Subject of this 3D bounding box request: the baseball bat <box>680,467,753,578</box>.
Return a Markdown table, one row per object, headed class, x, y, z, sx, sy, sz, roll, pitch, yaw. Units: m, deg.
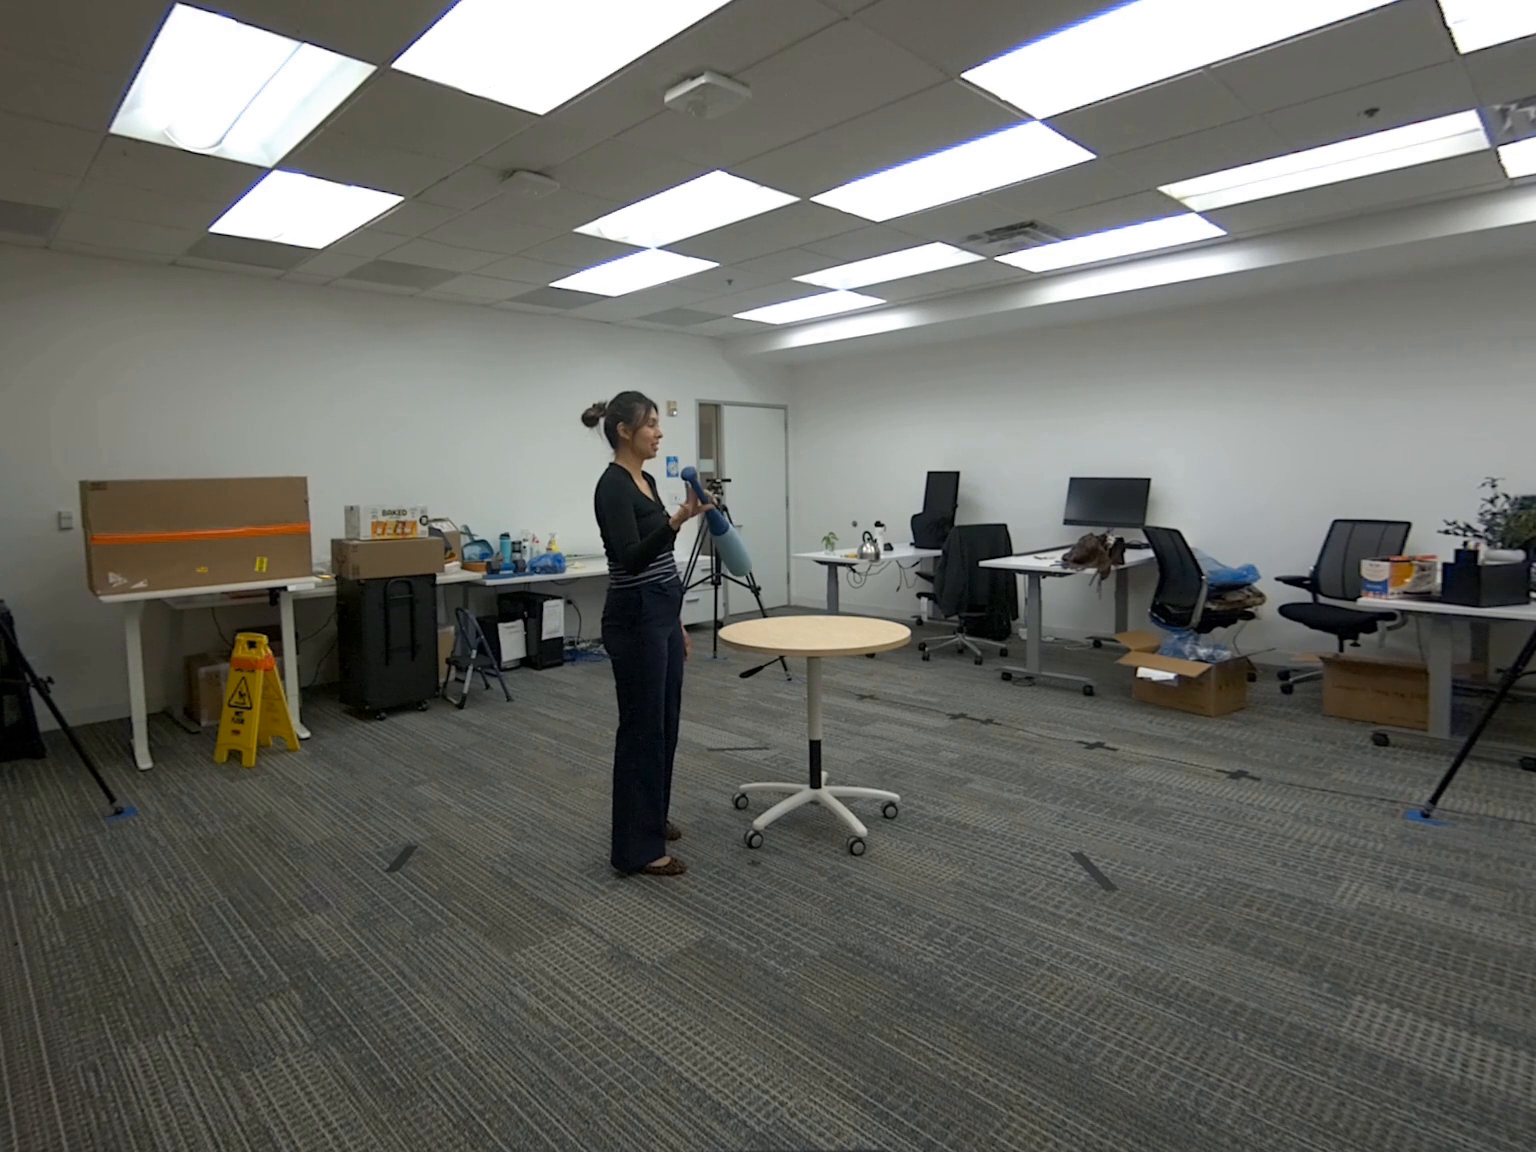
| class | x | y | z | sx | sy | sz | roll | pitch | yaw |
| --- | --- | --- | --- | --- | --- | --- | --- | --- | --- |
| baseball bat | -0.165 | -0.163 | 2.689 | 0.090 | 0.091 | 0.524 | 1 | -33 | 15 |
